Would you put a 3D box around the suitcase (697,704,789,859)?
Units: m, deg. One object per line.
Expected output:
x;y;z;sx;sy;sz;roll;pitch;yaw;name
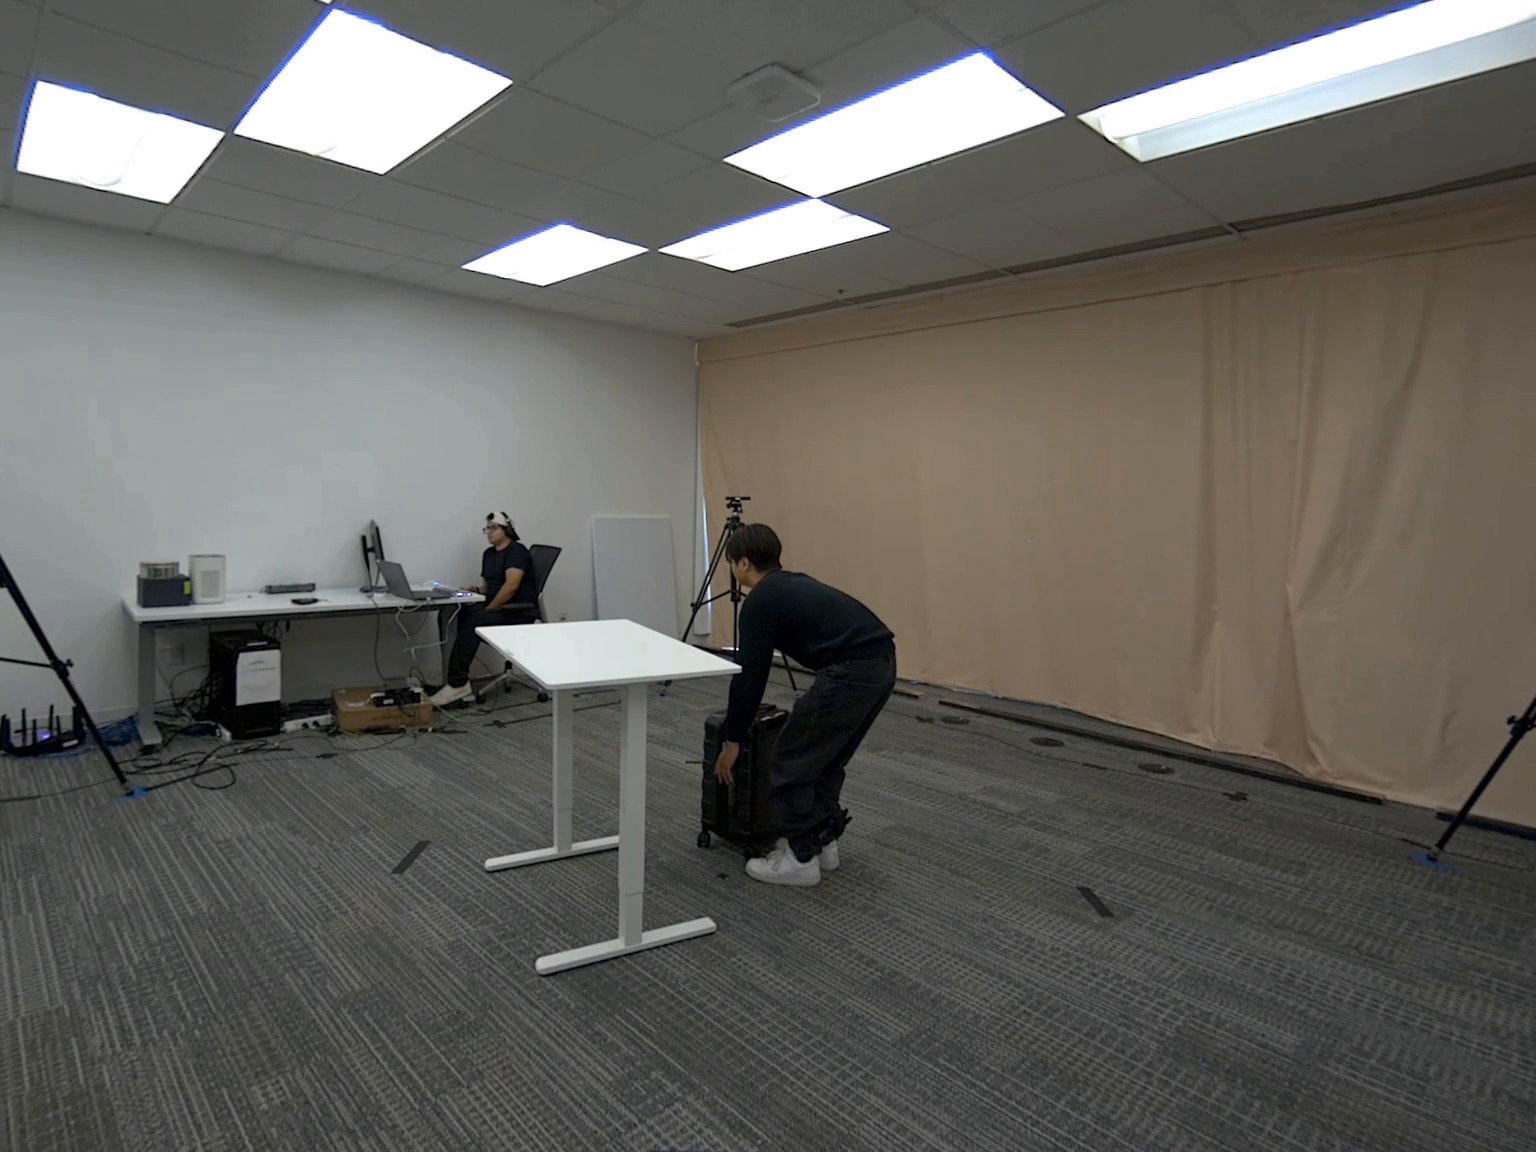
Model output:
-0.088;0.803;3.434;0.254;0.548;0.367;4;4;33;suitcase
